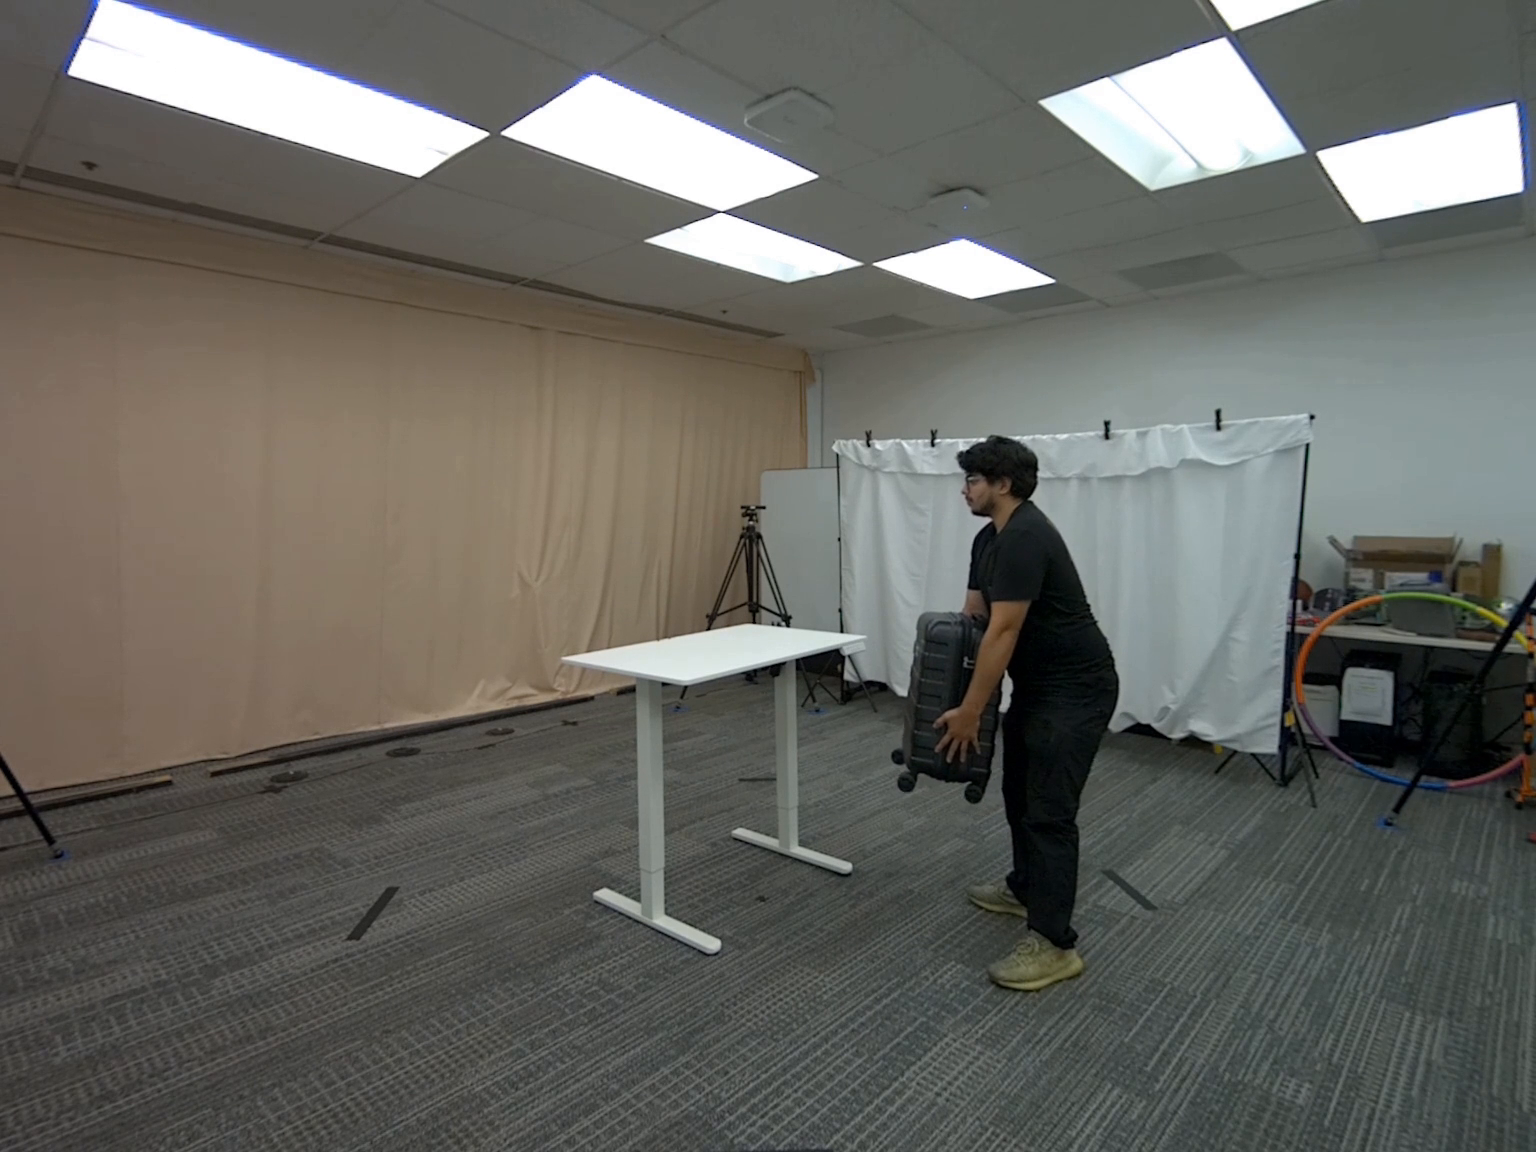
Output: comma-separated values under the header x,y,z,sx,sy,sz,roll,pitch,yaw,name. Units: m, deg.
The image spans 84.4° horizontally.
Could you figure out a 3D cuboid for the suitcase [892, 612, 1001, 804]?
x,y,z,sx,sy,sz,roll,pitch,yaw,name
0.595,0.399,2.690,0.250,0.548,0.373,7,3,5,suitcase
